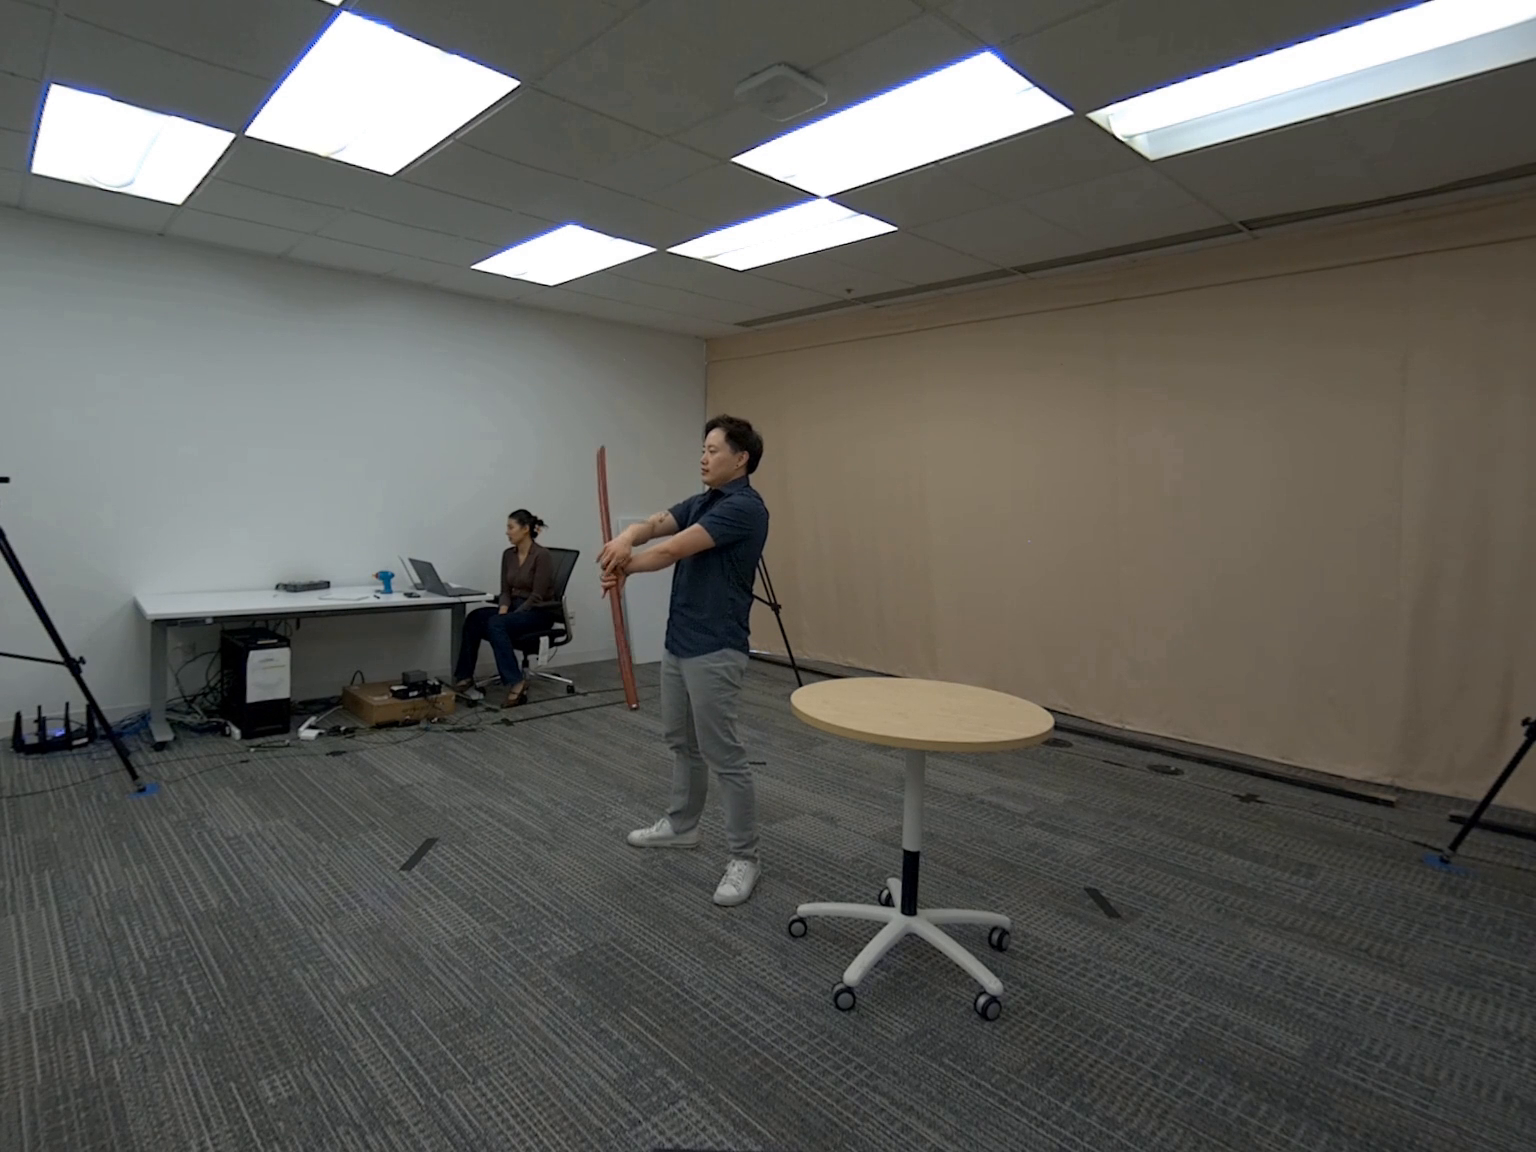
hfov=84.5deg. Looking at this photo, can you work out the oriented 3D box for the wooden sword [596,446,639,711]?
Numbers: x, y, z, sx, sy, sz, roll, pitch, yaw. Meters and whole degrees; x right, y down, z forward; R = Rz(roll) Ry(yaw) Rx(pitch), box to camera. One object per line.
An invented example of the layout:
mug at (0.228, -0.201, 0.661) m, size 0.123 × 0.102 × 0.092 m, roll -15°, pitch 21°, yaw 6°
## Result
wooden sword at (-0.542, -0.008, 2.923) m, size 0.051 × 1.045 × 0.024 m, roll -8°, pitch -24°, yaw -10°
